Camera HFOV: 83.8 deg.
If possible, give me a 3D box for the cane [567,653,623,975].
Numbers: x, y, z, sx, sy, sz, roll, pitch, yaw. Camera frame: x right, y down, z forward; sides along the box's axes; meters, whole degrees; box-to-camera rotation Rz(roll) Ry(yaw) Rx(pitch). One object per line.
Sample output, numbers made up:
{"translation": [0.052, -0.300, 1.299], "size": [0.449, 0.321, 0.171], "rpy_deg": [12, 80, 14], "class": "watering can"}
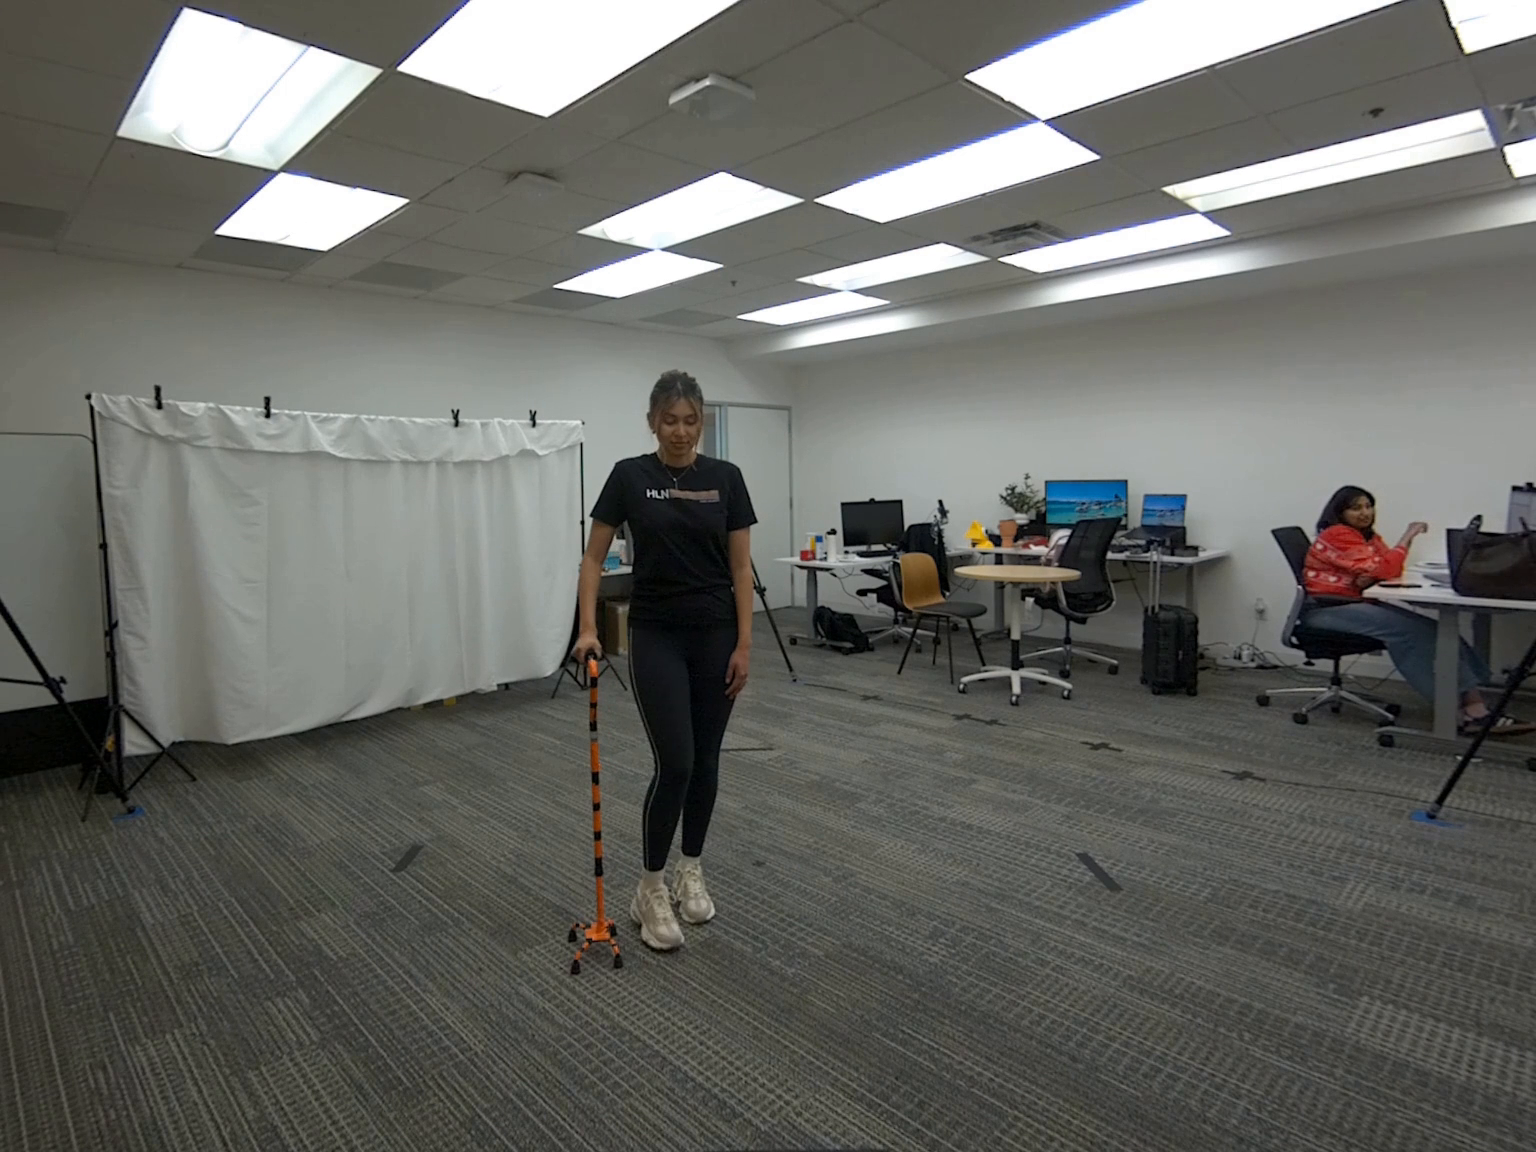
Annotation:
{"translation": [-0.517, 0.674, 2.513], "size": [0.149, 0.904, 0.210], "rpy_deg": [-2, 5, -16], "class": "cane"}
